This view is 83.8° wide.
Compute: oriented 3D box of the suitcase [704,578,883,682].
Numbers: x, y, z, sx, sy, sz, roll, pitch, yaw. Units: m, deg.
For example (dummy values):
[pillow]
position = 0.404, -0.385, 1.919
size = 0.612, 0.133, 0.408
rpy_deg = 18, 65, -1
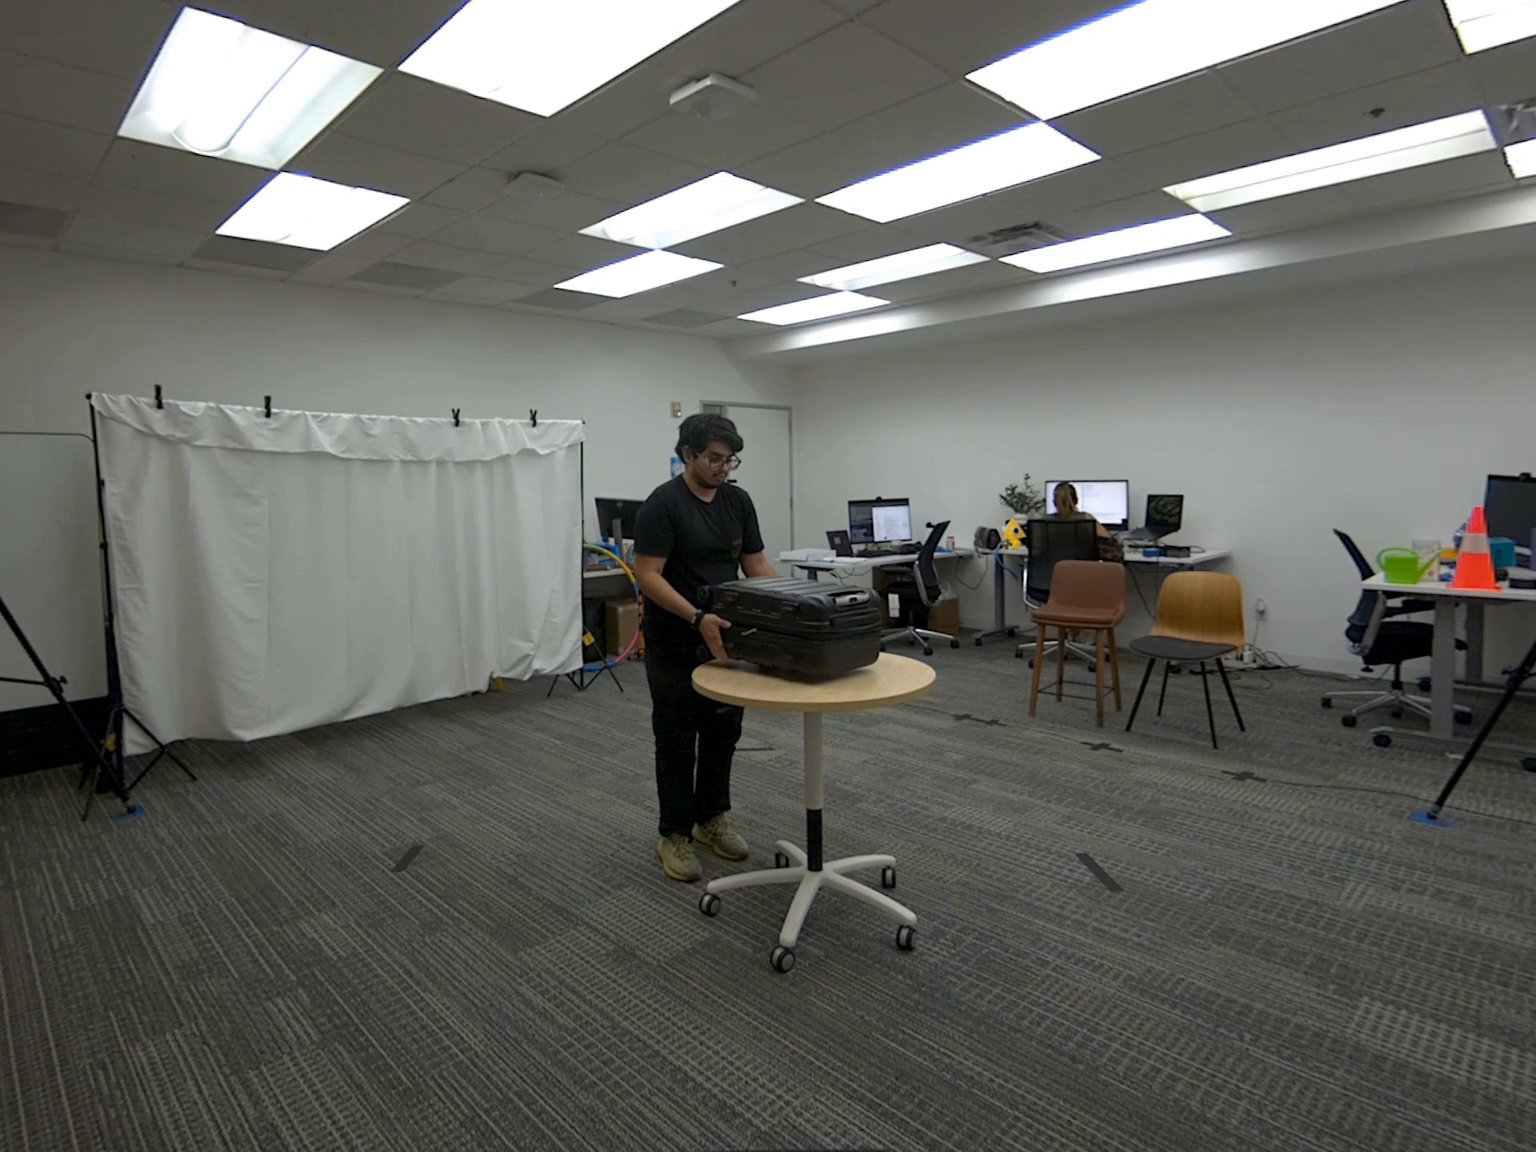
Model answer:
[suitcase]
position = 0.079, 0.159, 2.772
size = 0.365, 0.247, 0.566
rpy_deg = -3, 6, -45
